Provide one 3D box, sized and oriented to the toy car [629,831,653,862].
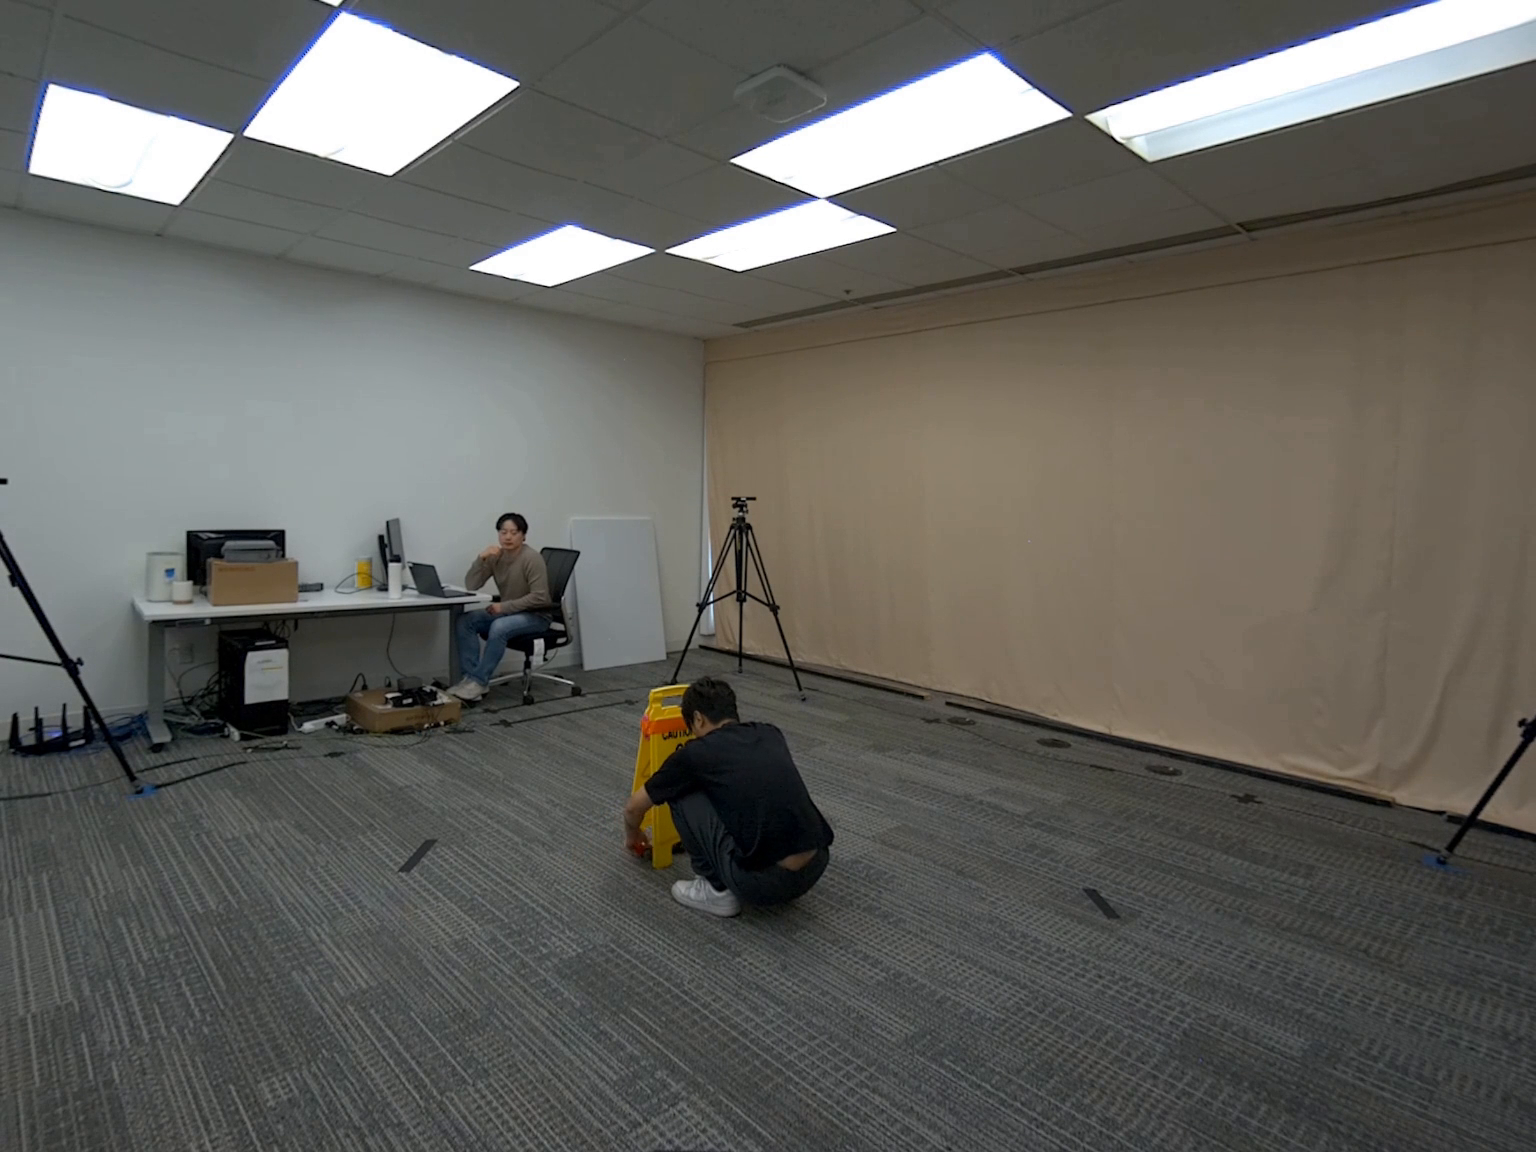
[{"bbox_3d":[-0.421,1.058,3.341,0.251,0.082,0.133,-15,10,-29],"label":"toy car"}]
